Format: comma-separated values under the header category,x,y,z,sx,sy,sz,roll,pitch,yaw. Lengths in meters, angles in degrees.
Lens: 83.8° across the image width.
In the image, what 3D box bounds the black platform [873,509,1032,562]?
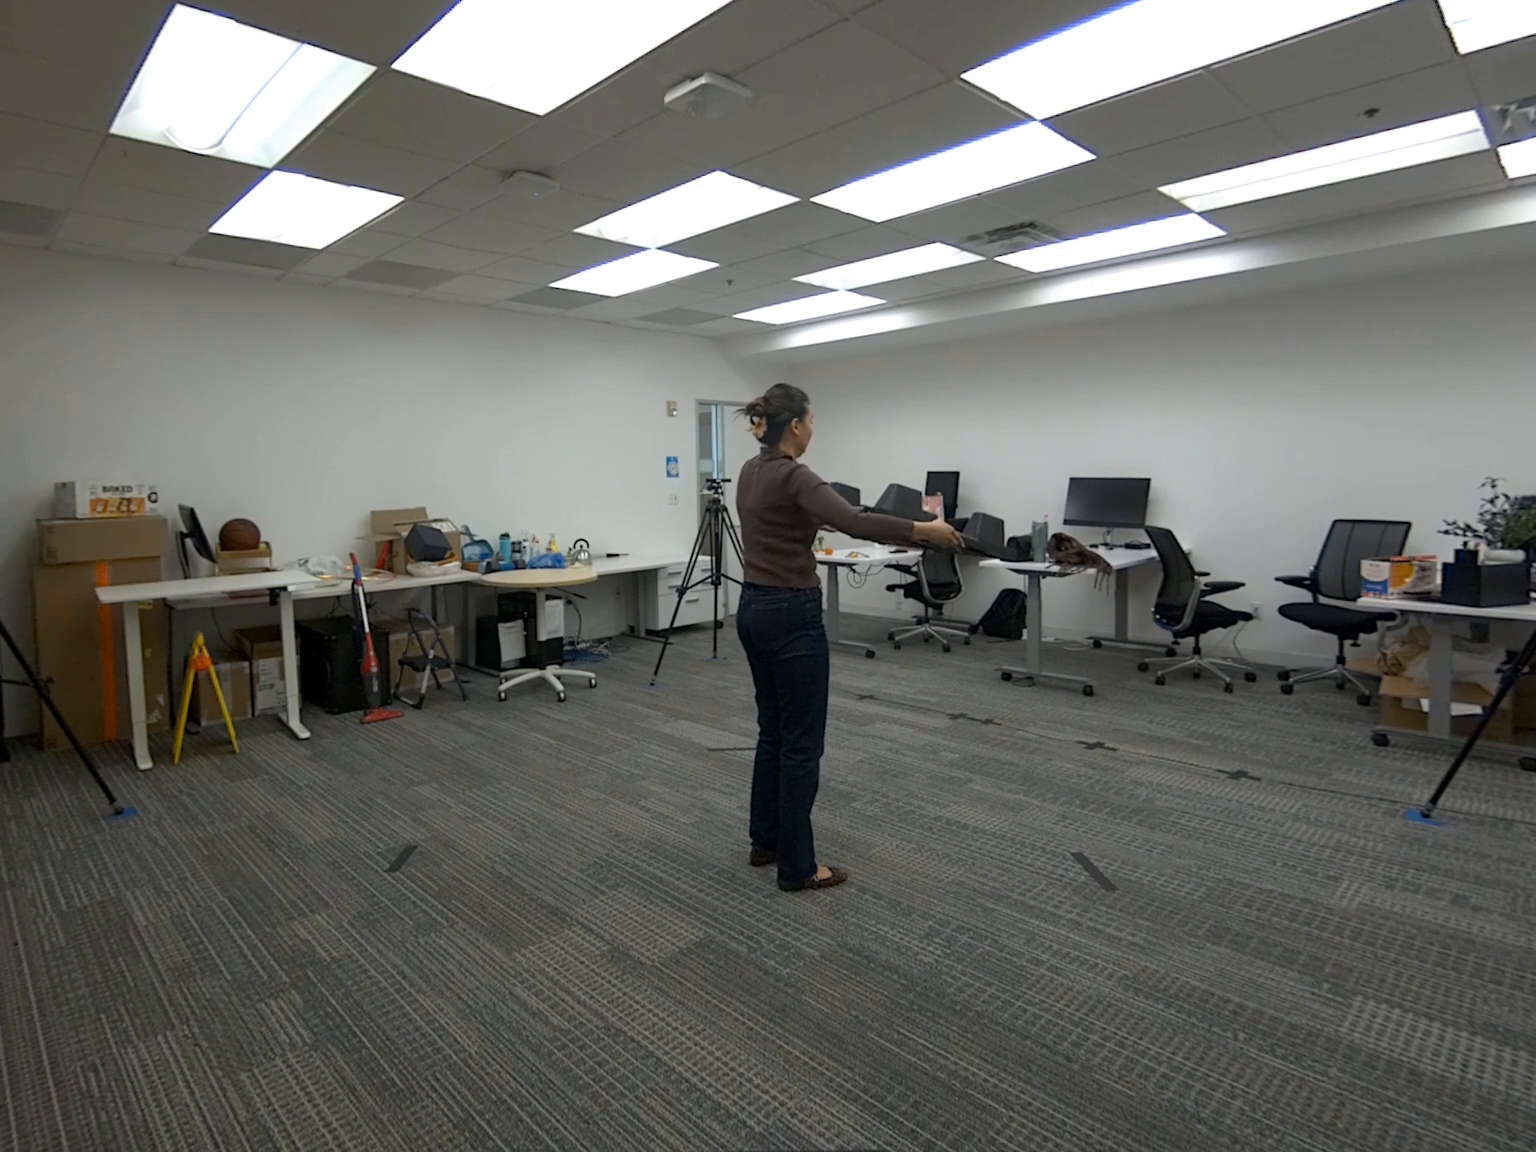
category,x,y,z,sx,sy,sz,roll,pitch,yaw
black platform,0.434,-0.213,3.133,0.588,0.143,0.828,15,0,-29
